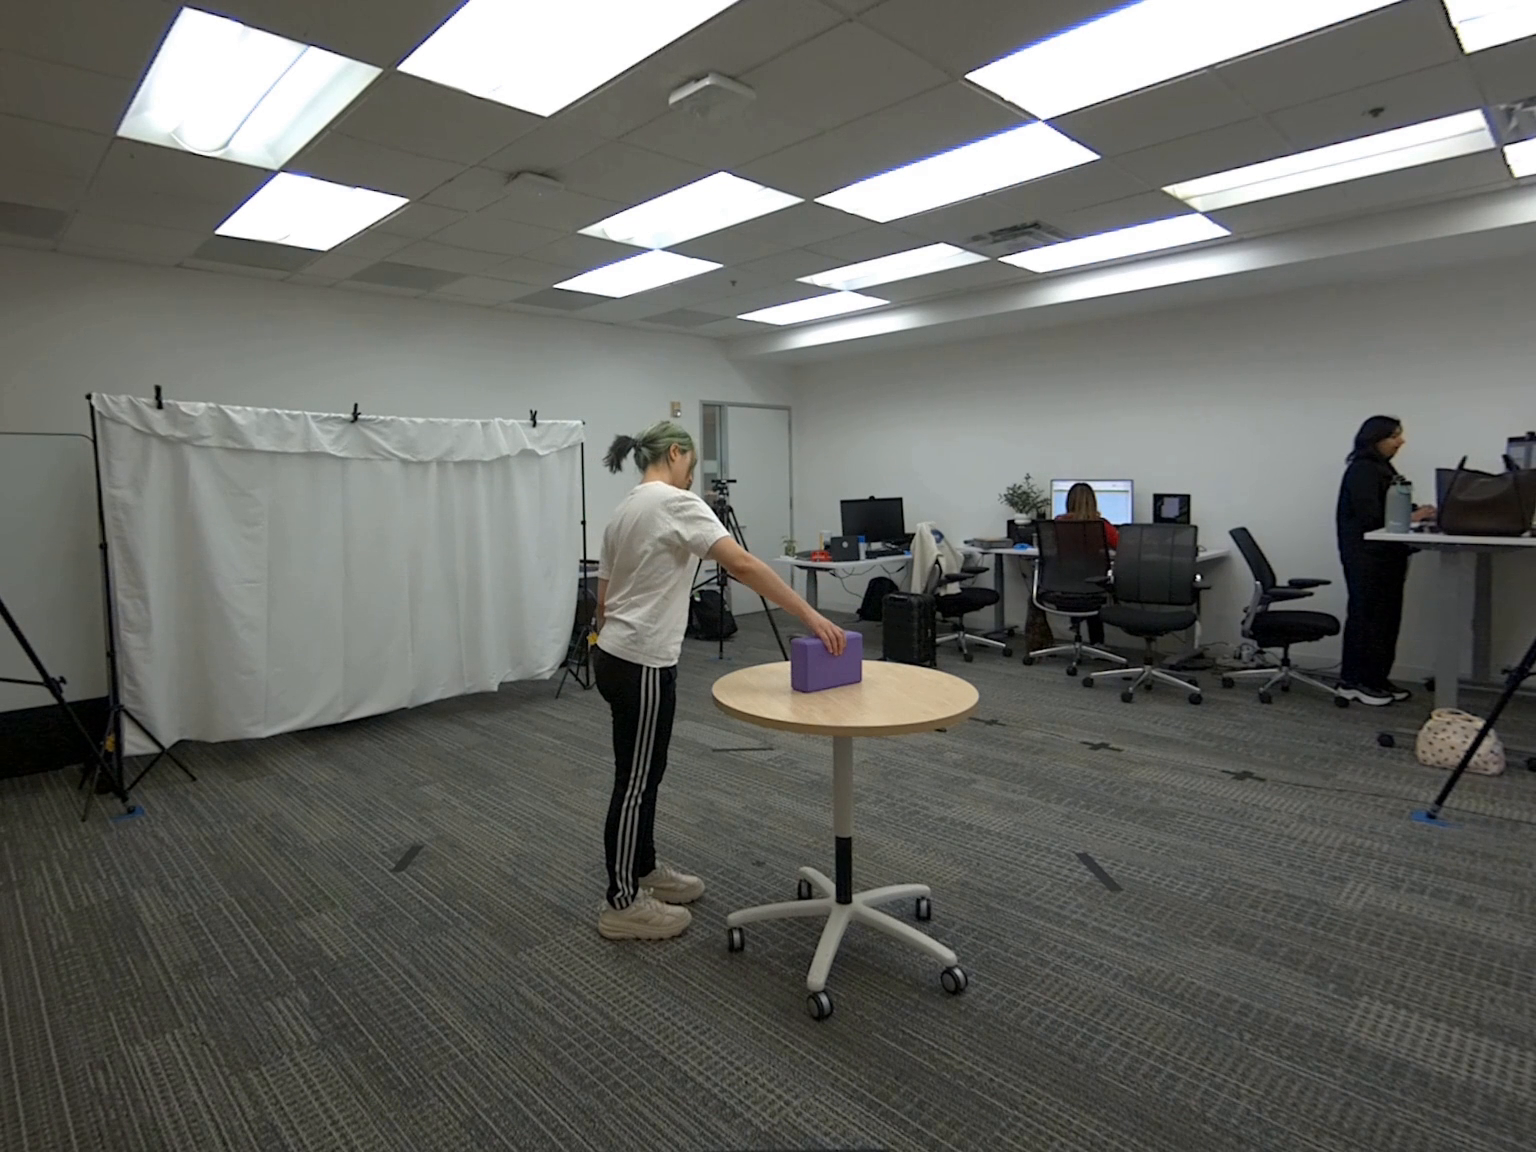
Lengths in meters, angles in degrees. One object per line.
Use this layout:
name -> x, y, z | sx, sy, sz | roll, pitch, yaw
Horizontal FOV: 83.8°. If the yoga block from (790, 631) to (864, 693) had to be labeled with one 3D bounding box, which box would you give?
yoga block -> 0.175, 0.244, 2.521 | 0.223, 0.148, 0.079 | -4, 5, -37
